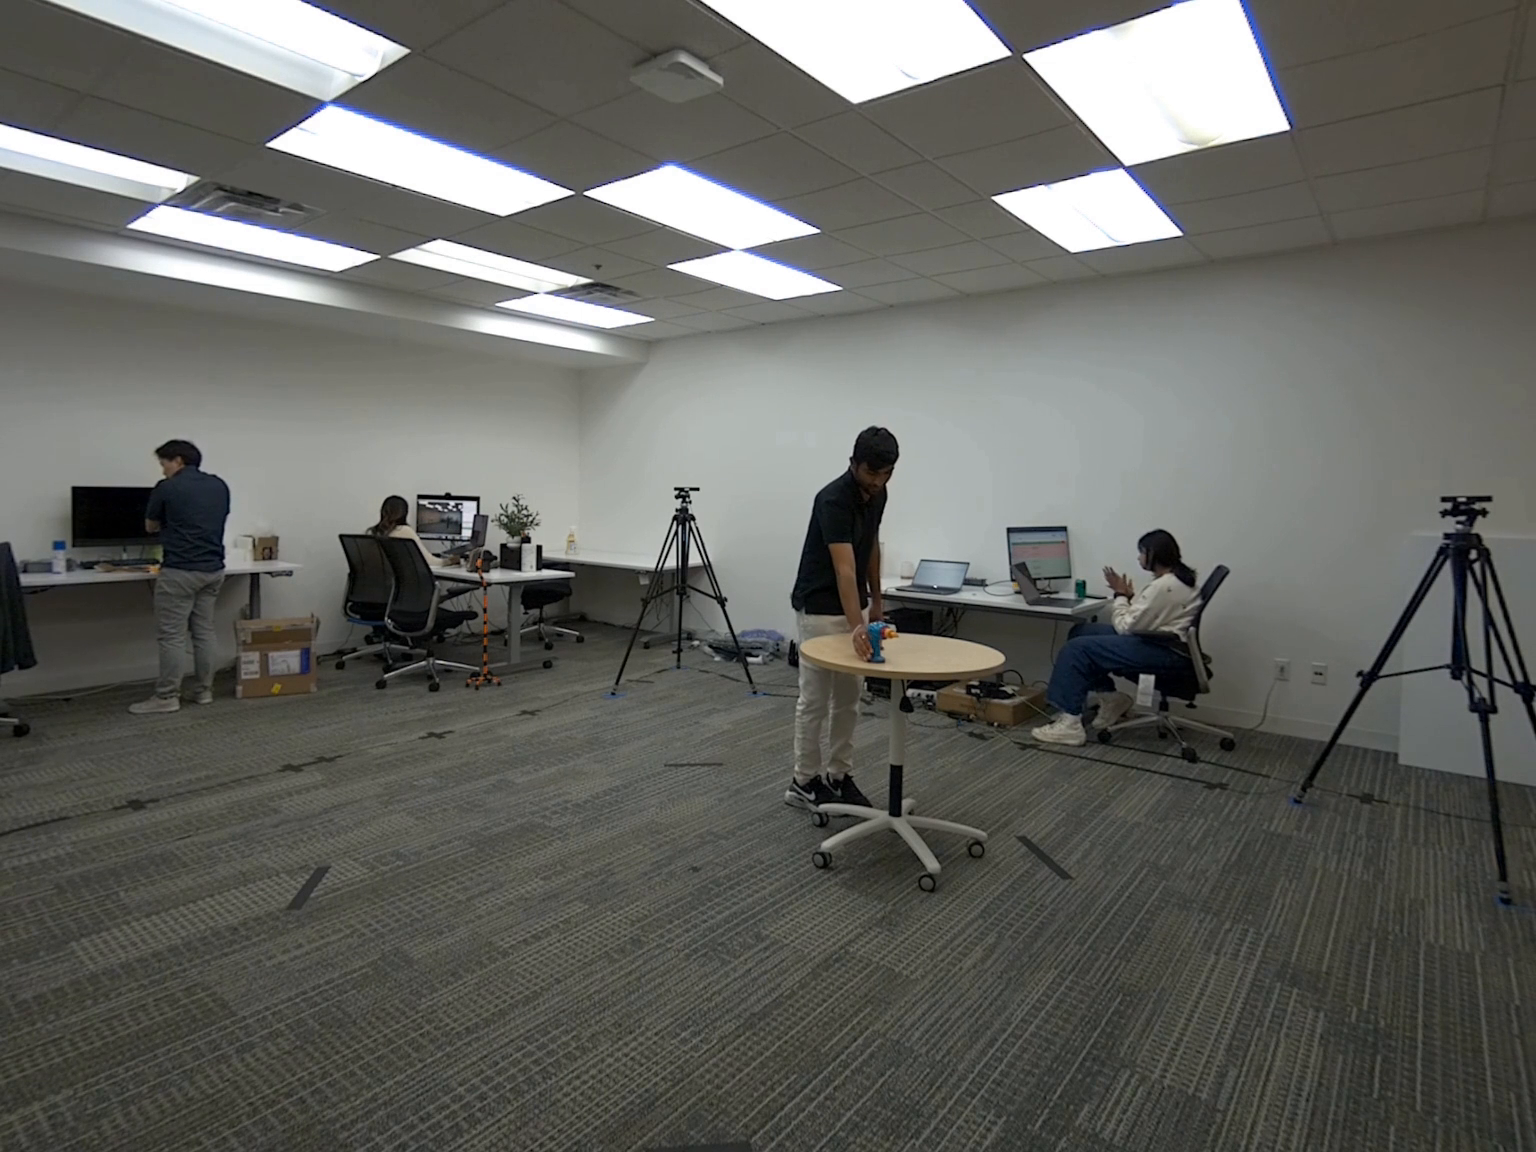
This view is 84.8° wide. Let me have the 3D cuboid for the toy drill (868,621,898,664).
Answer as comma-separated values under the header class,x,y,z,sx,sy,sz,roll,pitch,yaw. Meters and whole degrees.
class,x,y,z,sx,sy,sz,roll,pitch,yaw
toy drill,0.400,0.232,3.018,0.059,0.146,0.174,-2,4,-29
